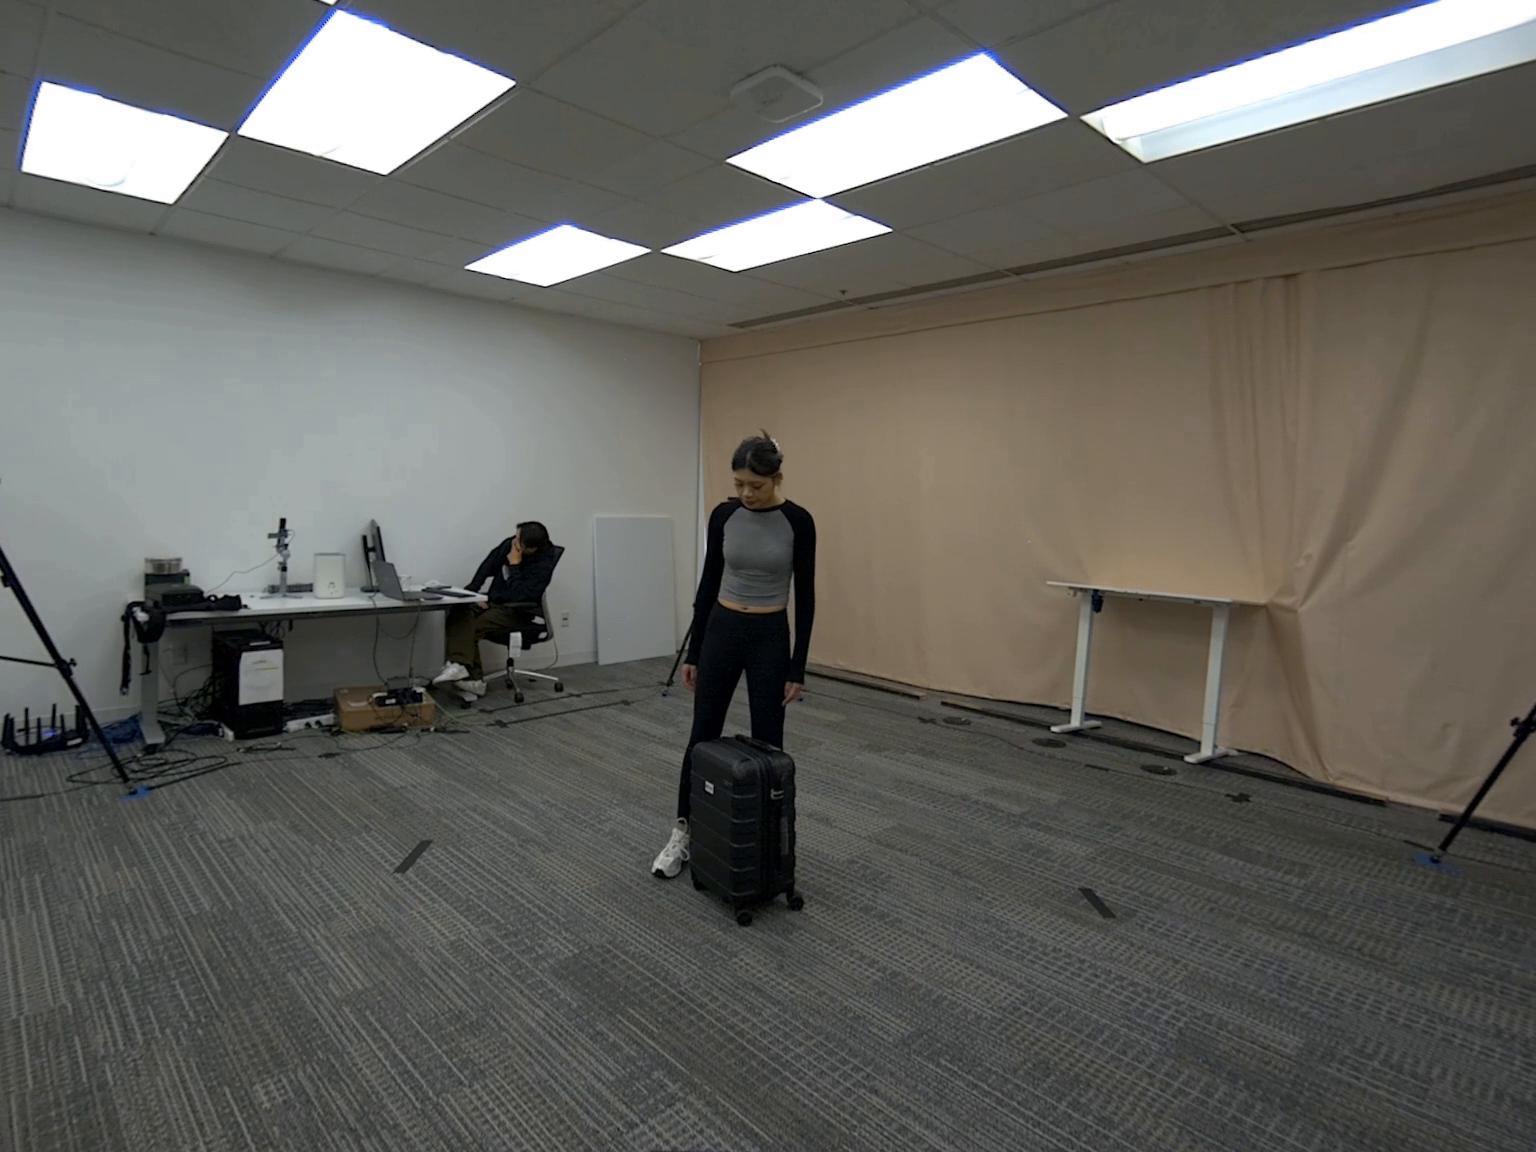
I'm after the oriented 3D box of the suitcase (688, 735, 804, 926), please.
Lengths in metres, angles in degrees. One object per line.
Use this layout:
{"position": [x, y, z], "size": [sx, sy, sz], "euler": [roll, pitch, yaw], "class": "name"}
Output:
{"position": [-0.094, 0.851, 2.908], "size": [0.243, 0.547, 0.384], "euler": [-3, 6, -32], "class": "suitcase"}
